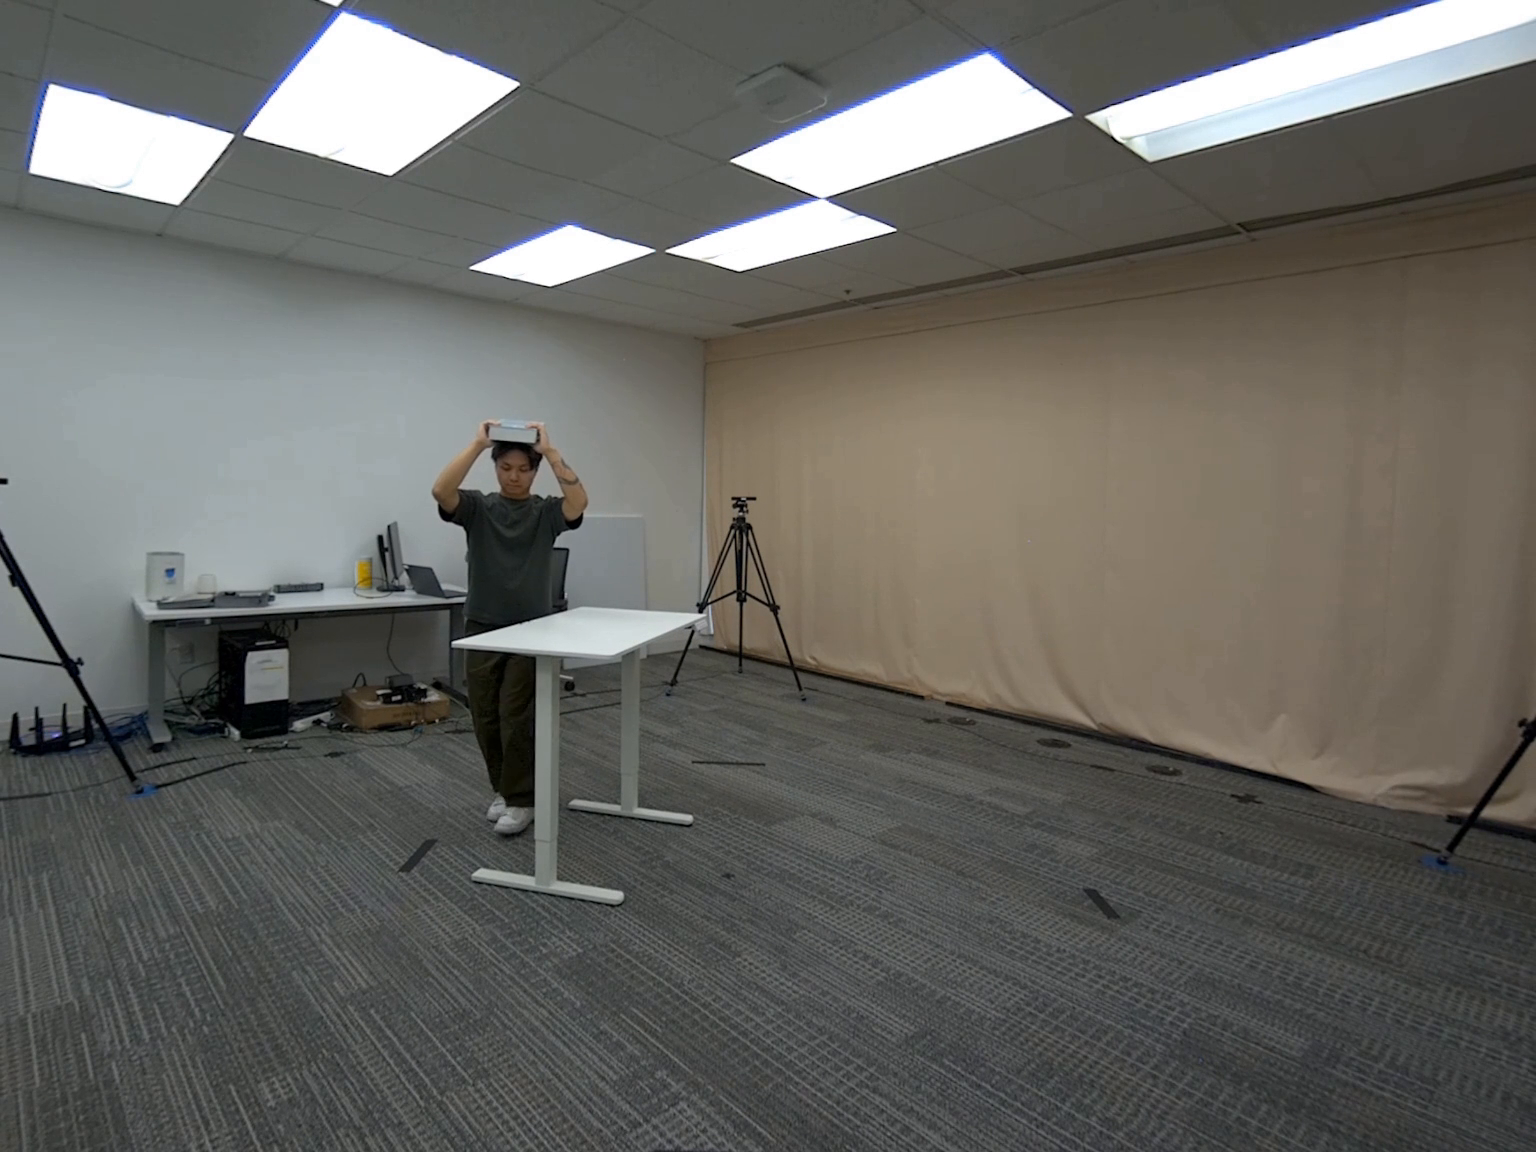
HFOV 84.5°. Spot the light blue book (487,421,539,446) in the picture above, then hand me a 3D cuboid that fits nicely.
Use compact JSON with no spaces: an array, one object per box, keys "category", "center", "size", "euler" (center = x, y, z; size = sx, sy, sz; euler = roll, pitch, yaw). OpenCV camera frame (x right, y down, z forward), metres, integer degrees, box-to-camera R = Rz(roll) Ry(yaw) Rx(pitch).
[{"category":"light blue book","center":[-1.033,-0.595,3.438],"size":[0.190,0.058,0.265],"euler":[3,15,-7]}]
